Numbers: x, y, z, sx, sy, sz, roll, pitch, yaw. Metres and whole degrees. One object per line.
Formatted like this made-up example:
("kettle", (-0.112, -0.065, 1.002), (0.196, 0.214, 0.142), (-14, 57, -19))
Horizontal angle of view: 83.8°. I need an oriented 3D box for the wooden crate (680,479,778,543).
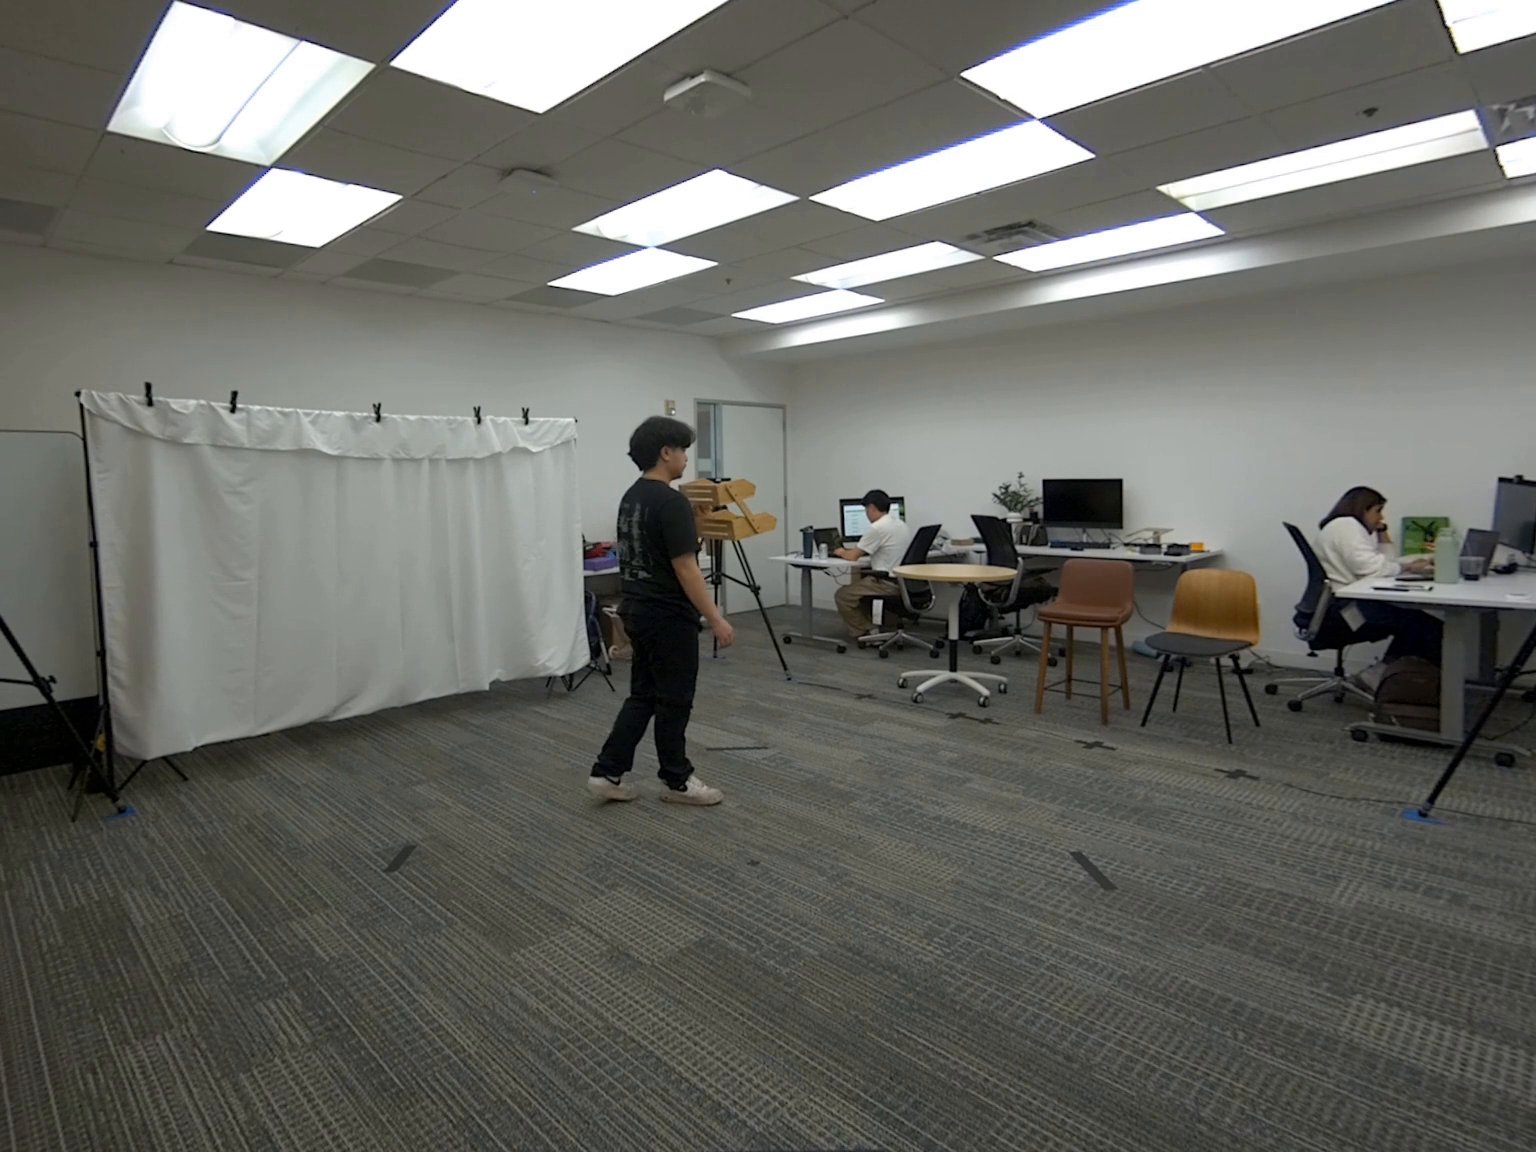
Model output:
("wooden crate", (-0.184, -0.317, 3.871), (0.296, 0.270, 0.334), (-18, 15, -35))
